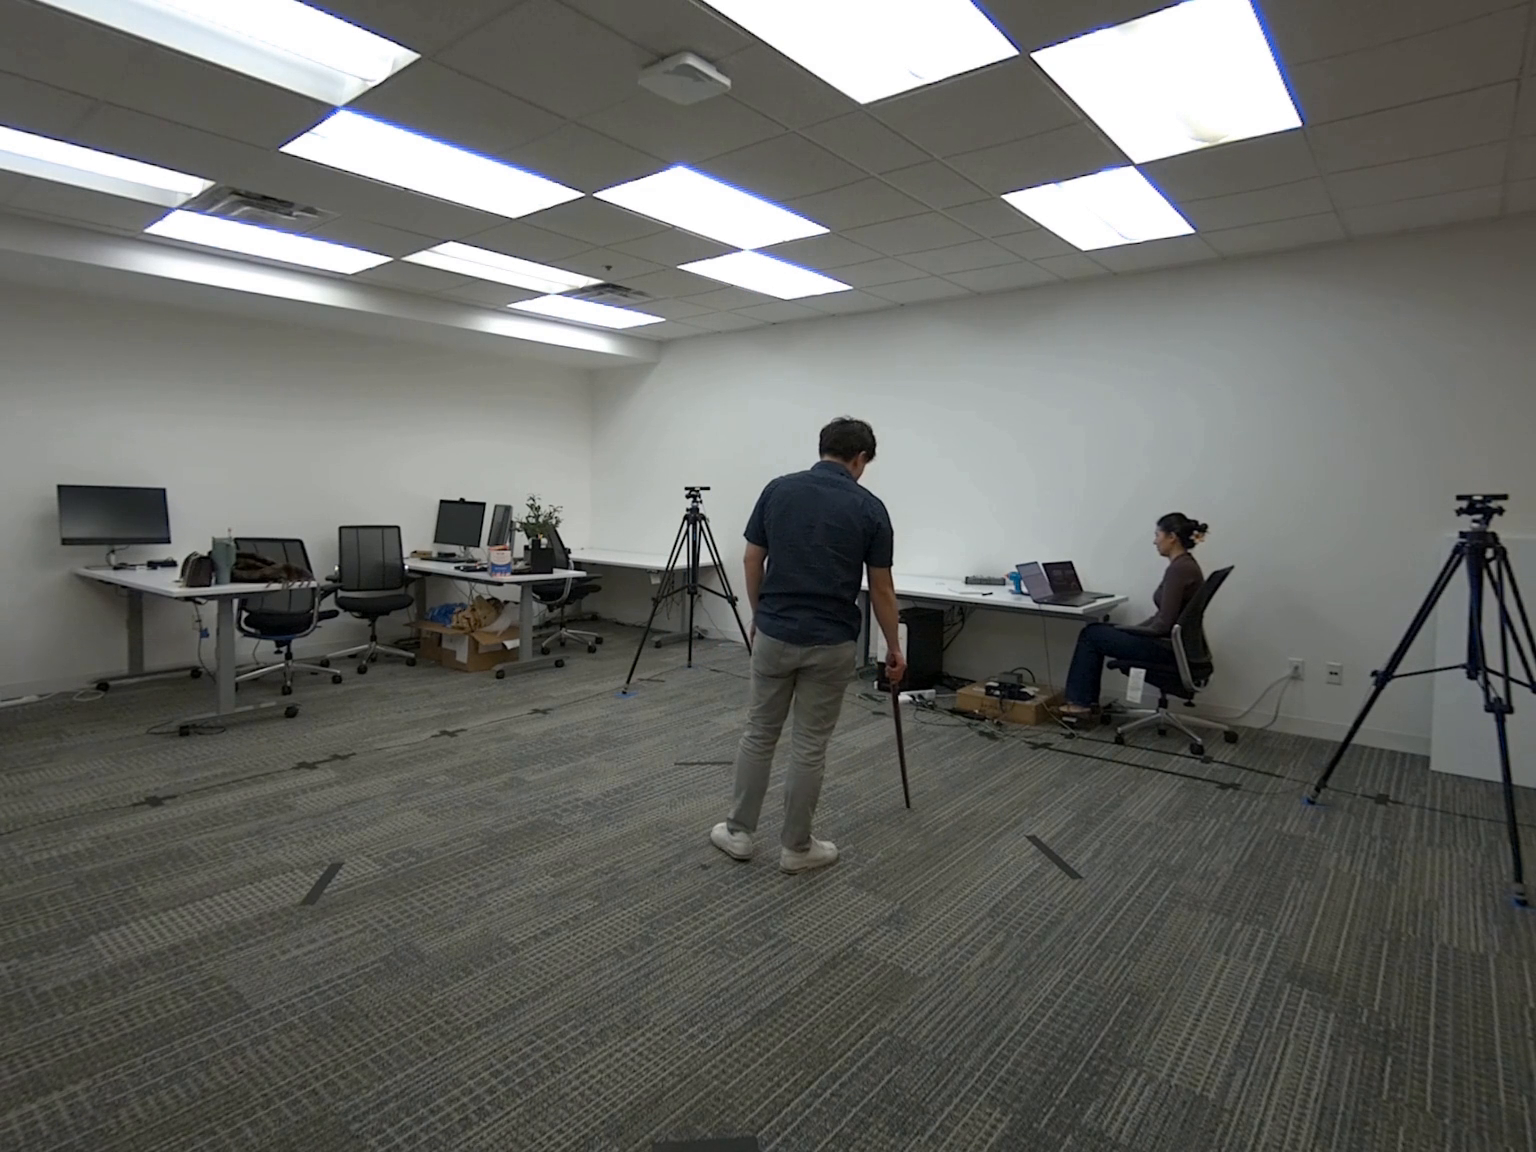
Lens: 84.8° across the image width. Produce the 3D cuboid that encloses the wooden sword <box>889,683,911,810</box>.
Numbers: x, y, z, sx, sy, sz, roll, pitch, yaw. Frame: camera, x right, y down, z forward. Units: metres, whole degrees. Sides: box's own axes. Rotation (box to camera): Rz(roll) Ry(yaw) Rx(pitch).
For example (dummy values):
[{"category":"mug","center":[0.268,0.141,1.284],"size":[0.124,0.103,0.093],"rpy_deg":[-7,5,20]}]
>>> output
[{"category":"wooden sword","center":[0.504,0.671,3.428],"size":[0.052,0.988,0.024],"rpy_deg":[4,46,20]}]
